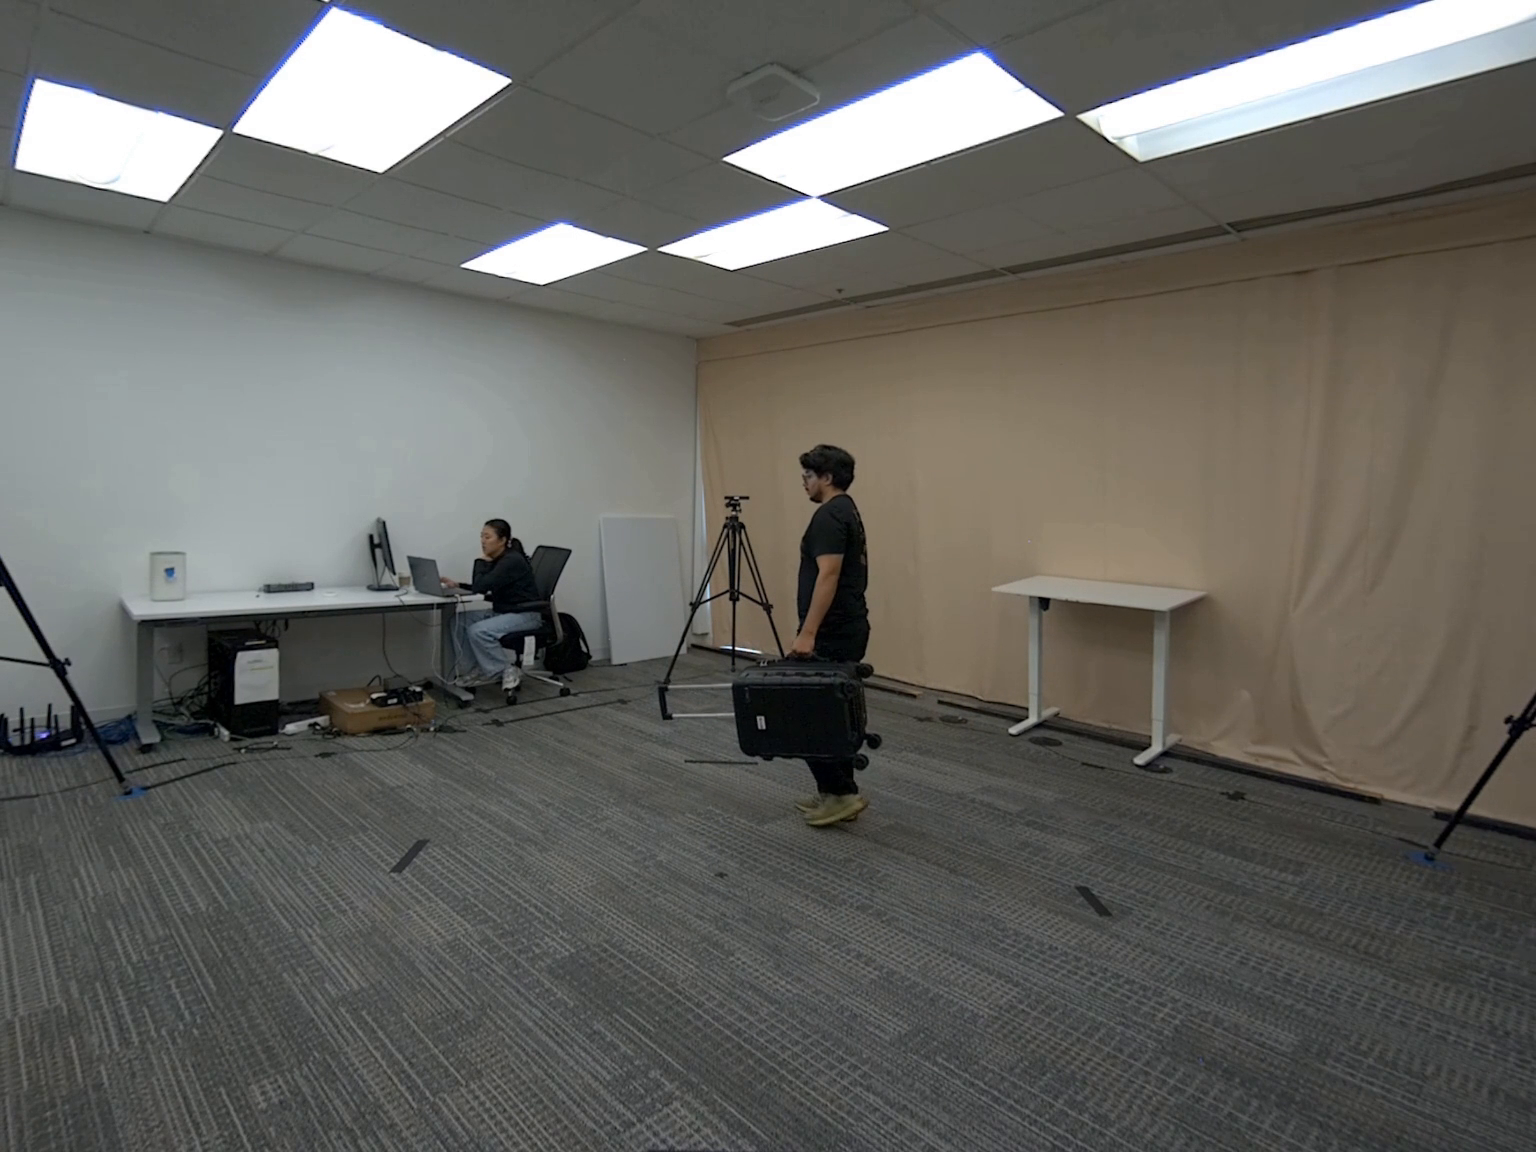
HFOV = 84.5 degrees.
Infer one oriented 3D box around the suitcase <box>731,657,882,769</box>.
[{"bbox_3d":[-0.064,0.544,3.449,0.994,0.382,0.254,-3,8,23],"label":"suitcase"}]
